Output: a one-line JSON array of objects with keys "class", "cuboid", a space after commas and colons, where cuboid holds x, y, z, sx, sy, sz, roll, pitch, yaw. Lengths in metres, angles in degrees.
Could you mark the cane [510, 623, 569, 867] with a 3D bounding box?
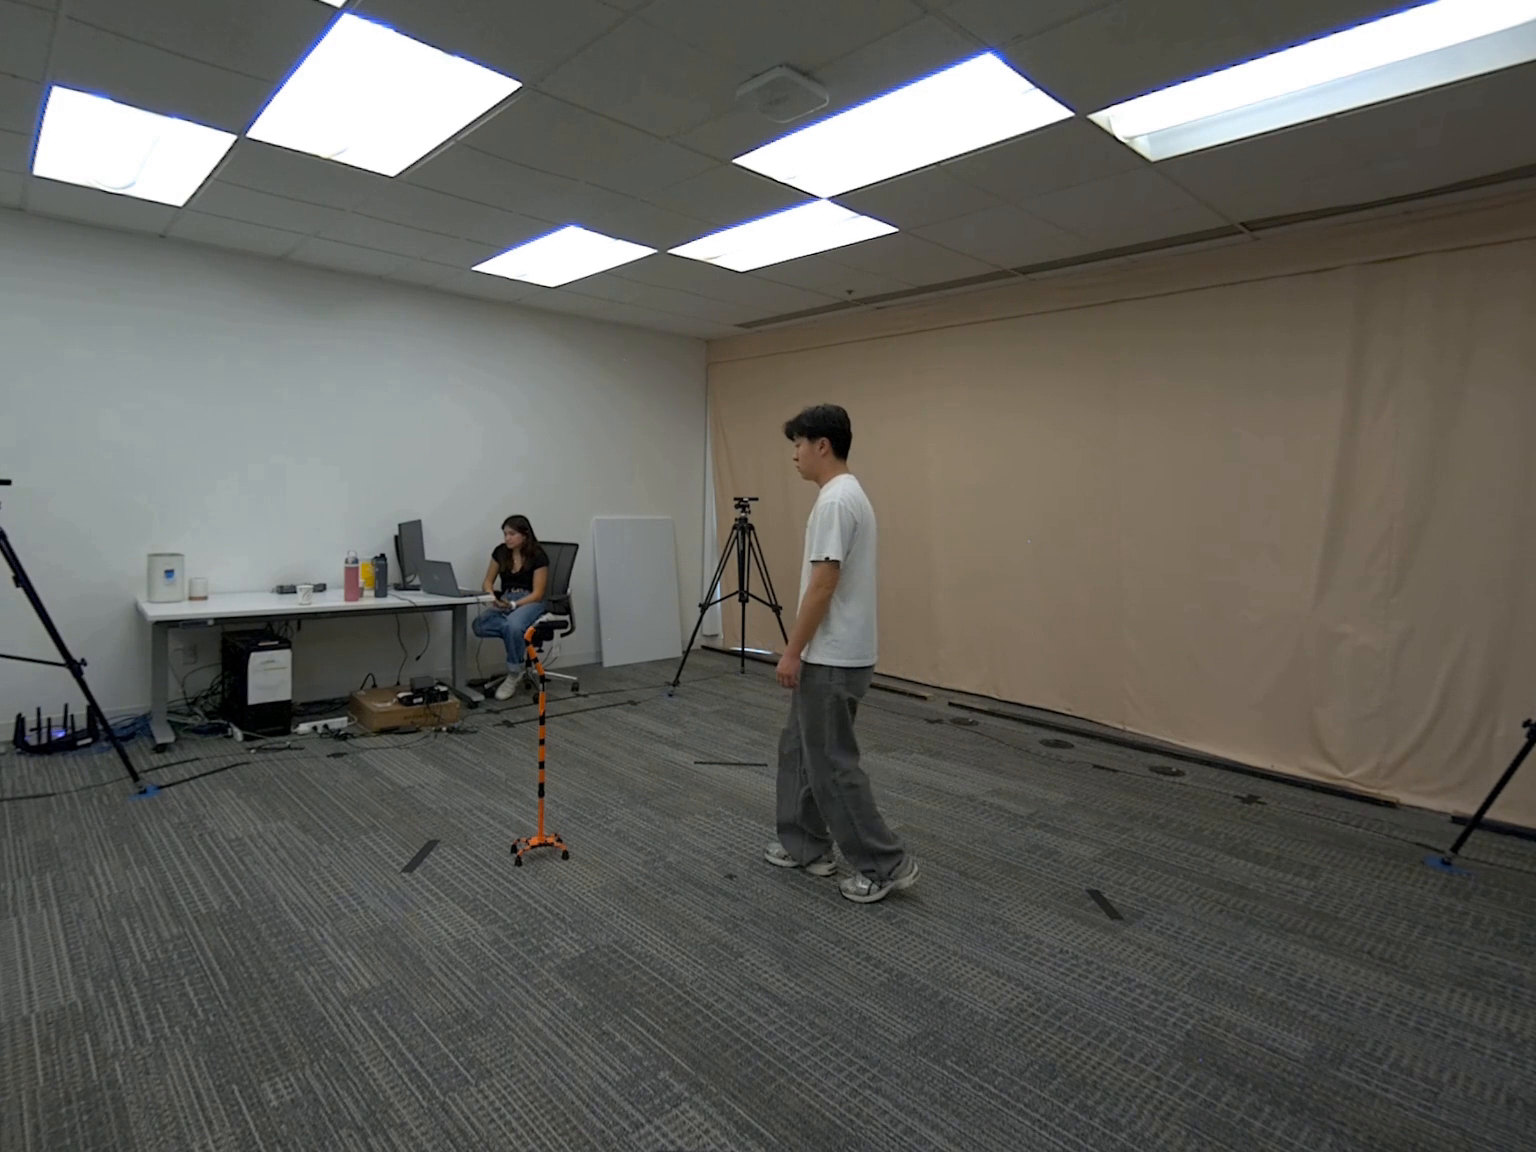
[{"class": "cane", "cuboid": [-0.878, 0.624, 3.223, 0.203, 0.906, 0.154, -1, 4, -25]}]
